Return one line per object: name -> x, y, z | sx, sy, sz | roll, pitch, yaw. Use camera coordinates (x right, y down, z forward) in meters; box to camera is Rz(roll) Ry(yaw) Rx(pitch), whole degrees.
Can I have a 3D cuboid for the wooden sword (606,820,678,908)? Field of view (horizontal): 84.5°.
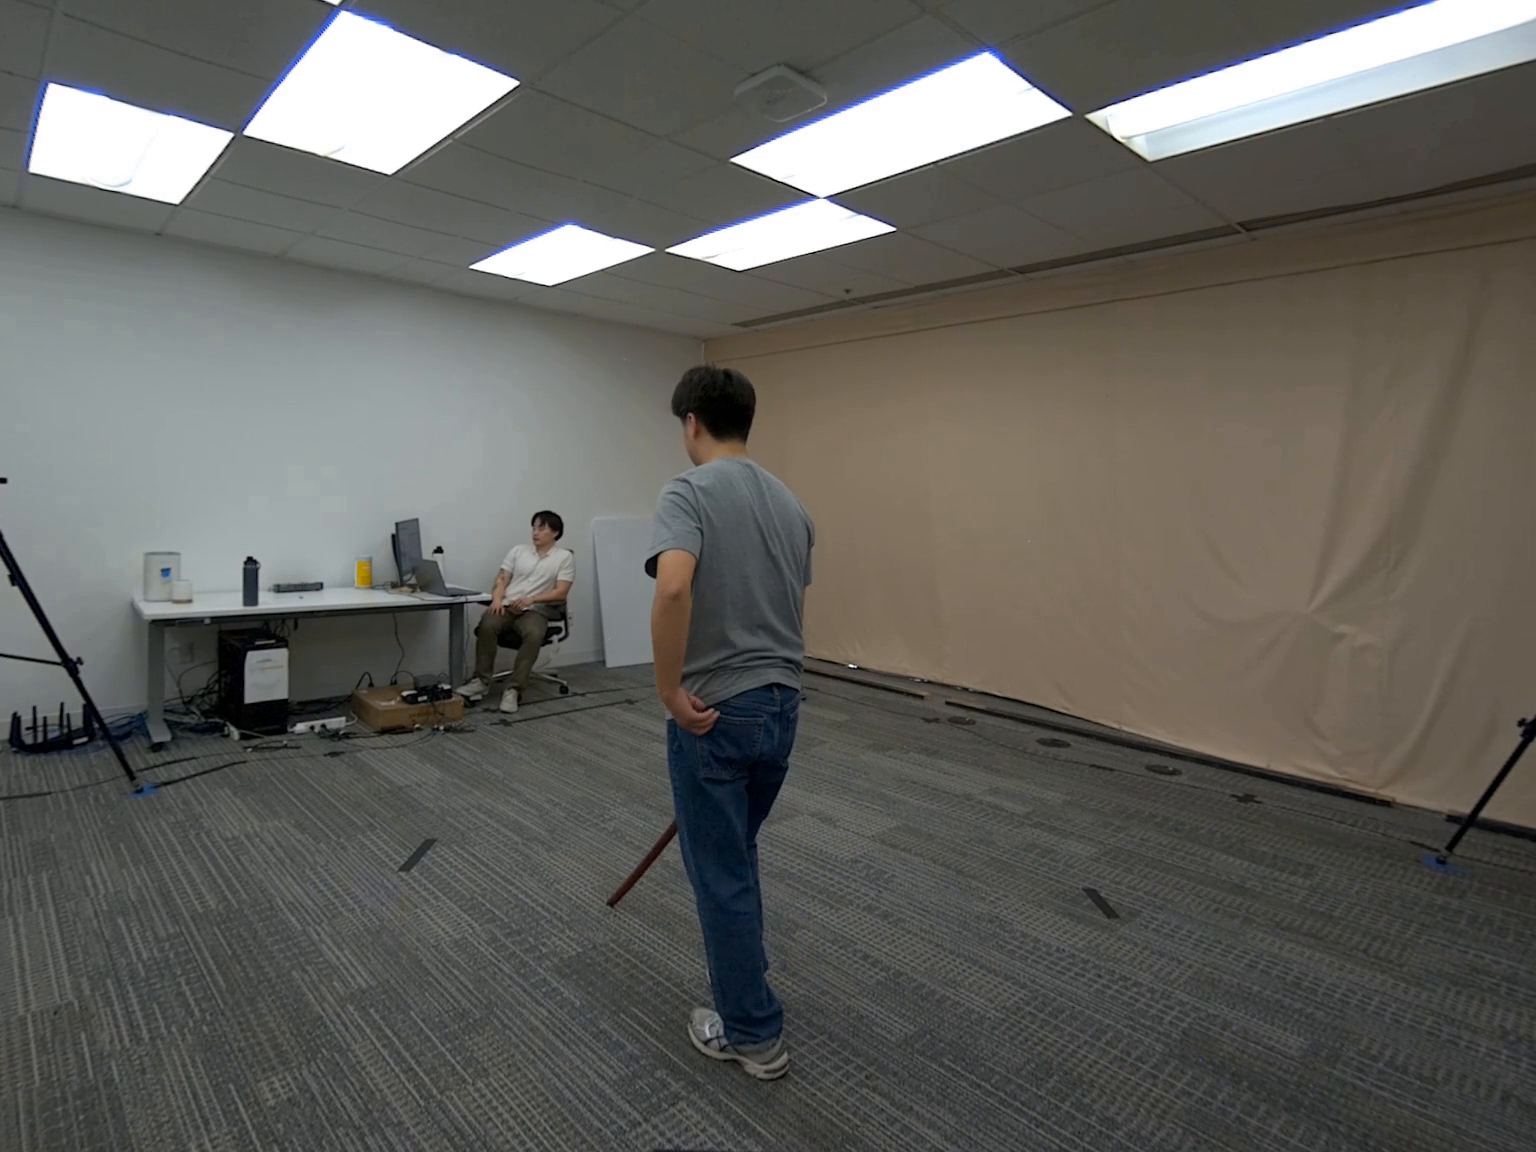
wooden sword -> -0.290, 0.783, 2.613 | 0.052, 1.021, 0.024 | 43, 30, 9
